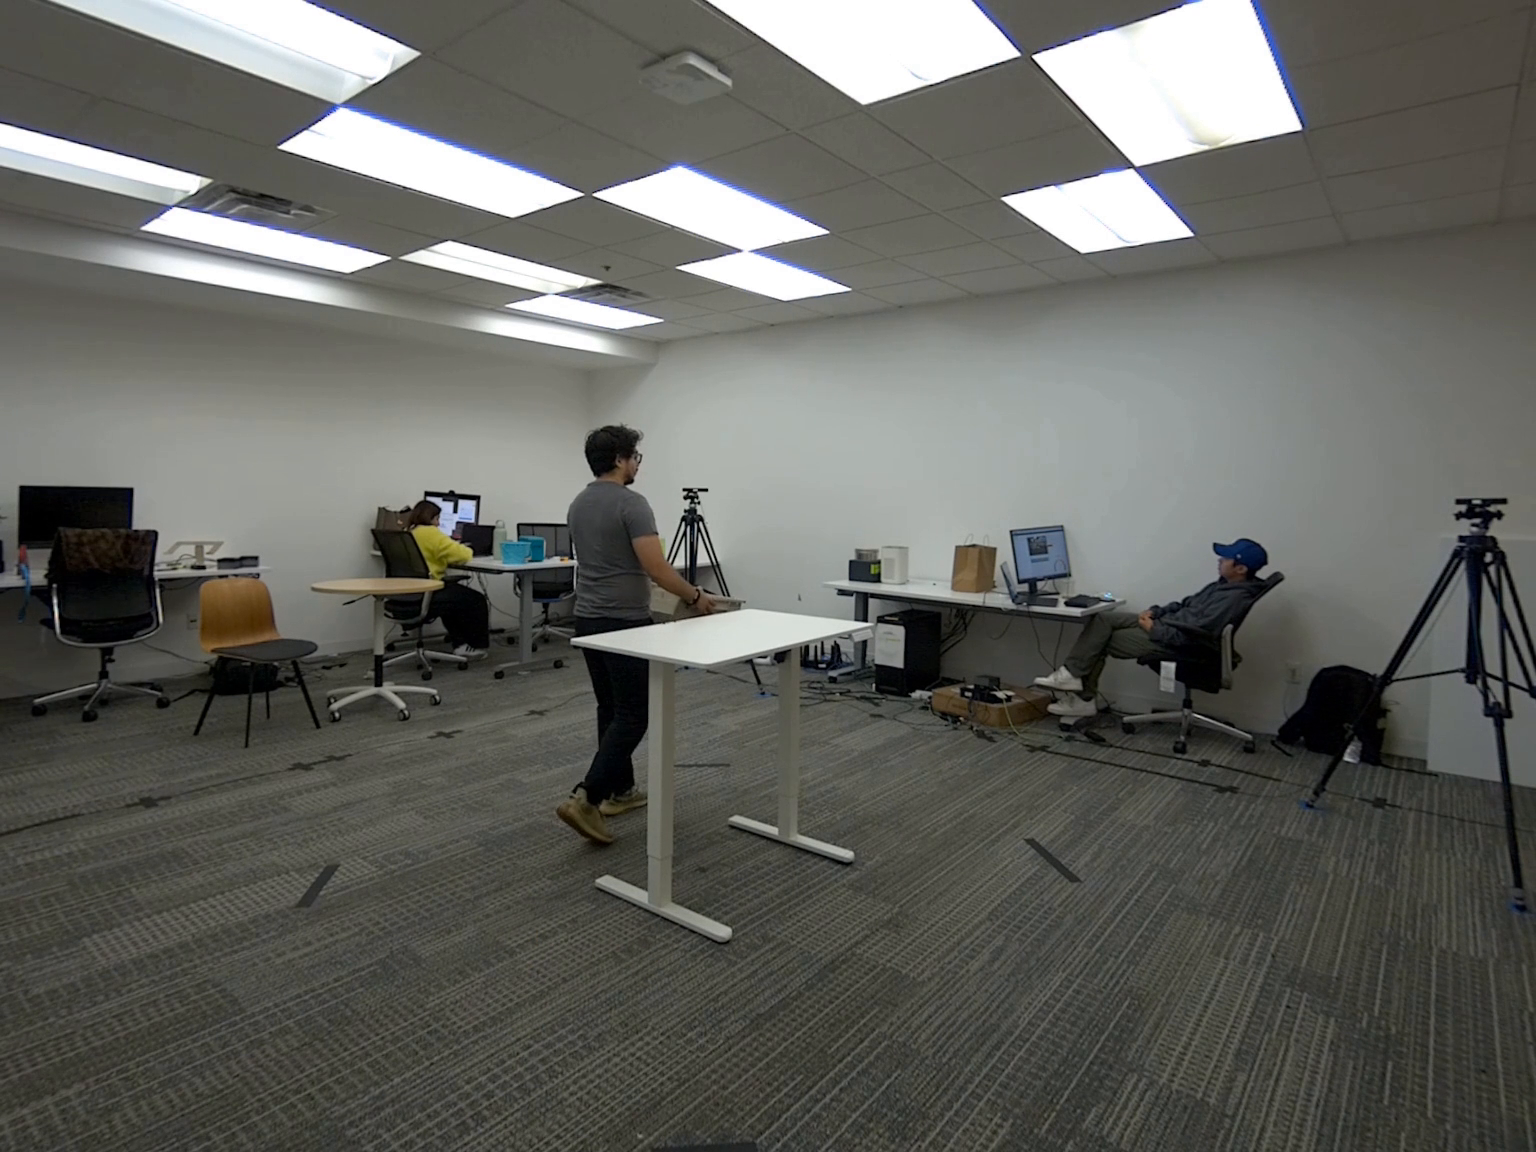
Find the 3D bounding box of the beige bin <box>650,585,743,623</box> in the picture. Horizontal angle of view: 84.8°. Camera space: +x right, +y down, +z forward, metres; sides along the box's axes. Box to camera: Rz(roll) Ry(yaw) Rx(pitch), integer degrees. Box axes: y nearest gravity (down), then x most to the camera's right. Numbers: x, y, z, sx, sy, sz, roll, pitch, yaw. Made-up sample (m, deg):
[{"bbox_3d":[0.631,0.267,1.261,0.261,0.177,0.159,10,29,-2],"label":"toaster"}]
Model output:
[{"bbox_3d":[-0.401,0.151,3.785,0.364,0.189,0.436,9,-3,-37],"label":"beige bin"}]
